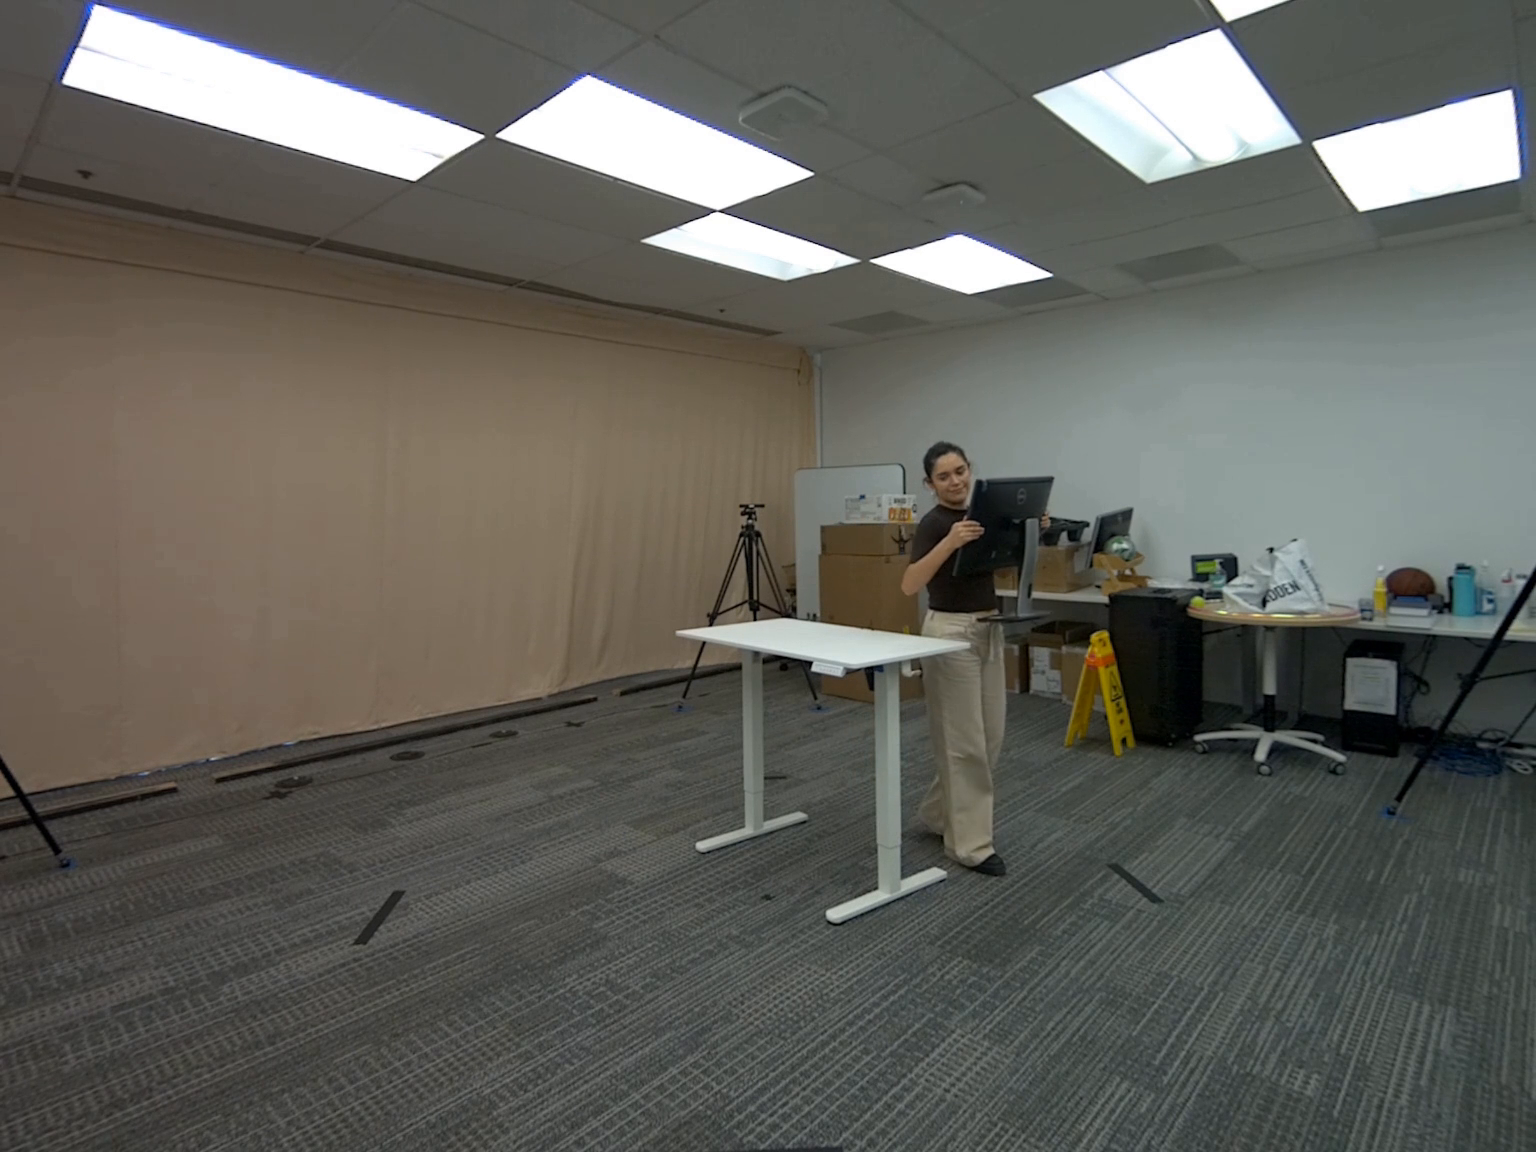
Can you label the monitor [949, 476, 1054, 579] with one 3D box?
[{"bbox_3d":[0.905,-0.097,3.089,0.193,0.521,0.523,3,7,44],"label":"monitor"}]
